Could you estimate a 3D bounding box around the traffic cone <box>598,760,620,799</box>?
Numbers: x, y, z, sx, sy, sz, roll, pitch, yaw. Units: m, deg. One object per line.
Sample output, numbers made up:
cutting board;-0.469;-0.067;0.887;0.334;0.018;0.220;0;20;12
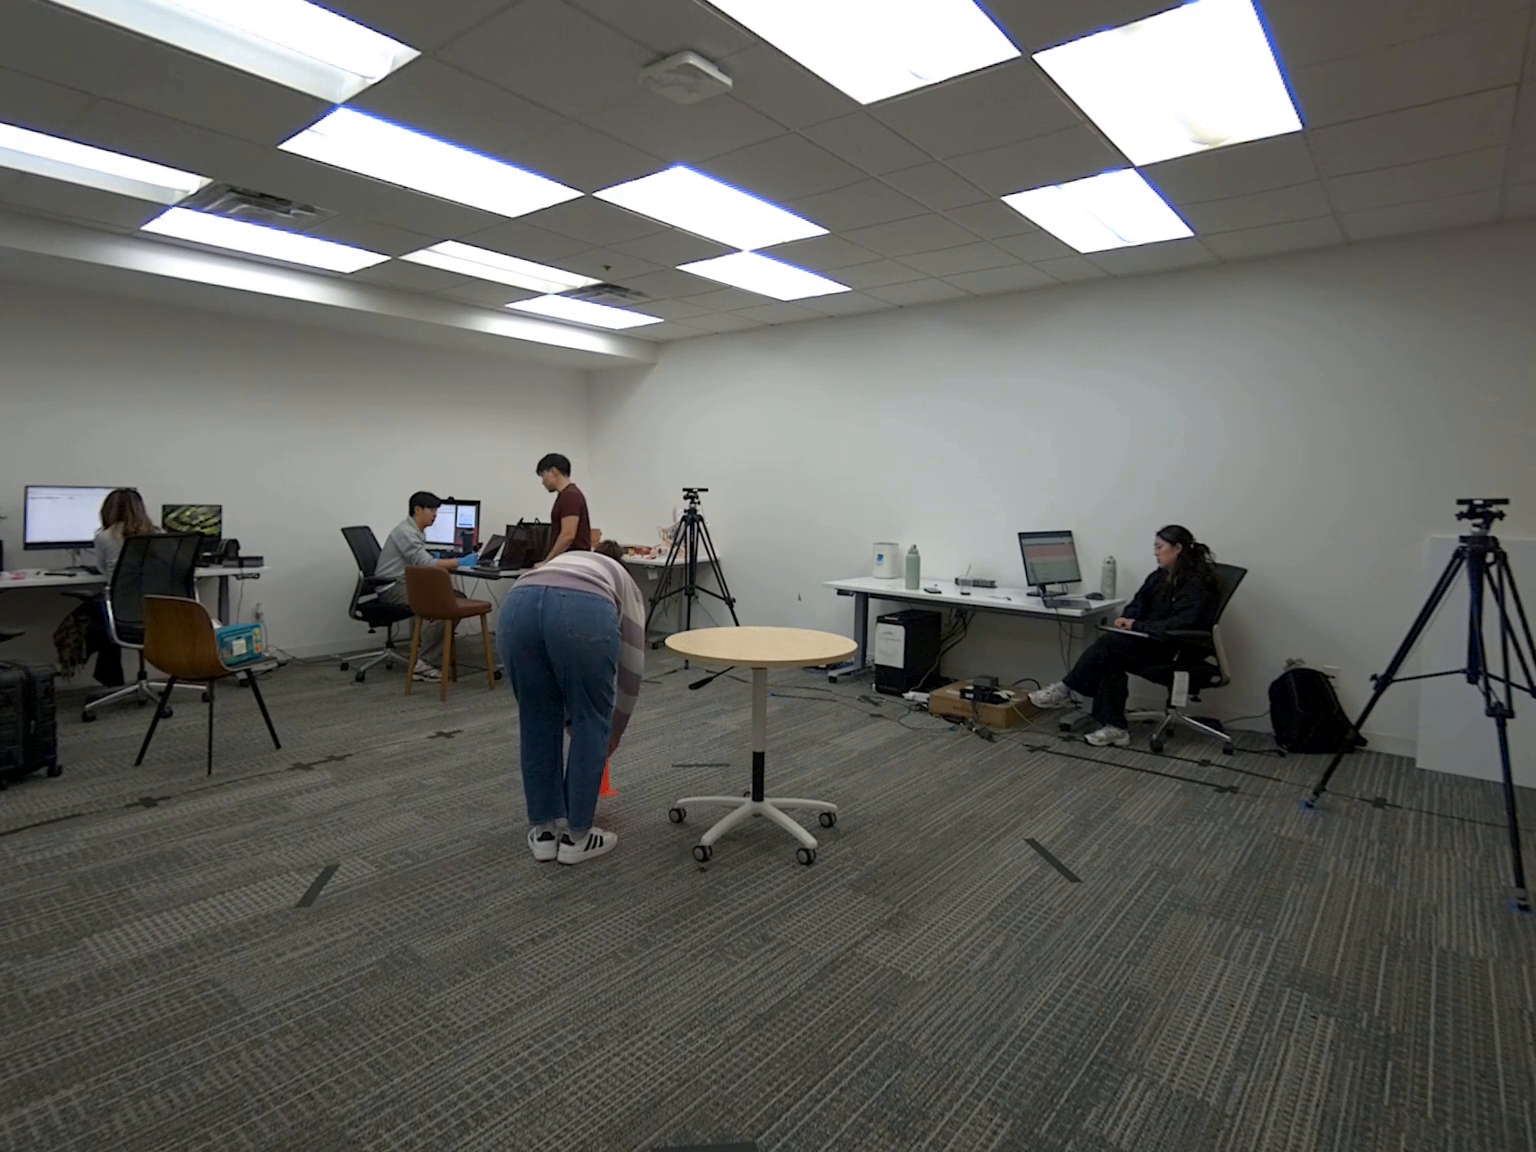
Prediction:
traffic cone;-0.740;0.702;3.558;0.196;0.385;0.212;7;-3;-42
